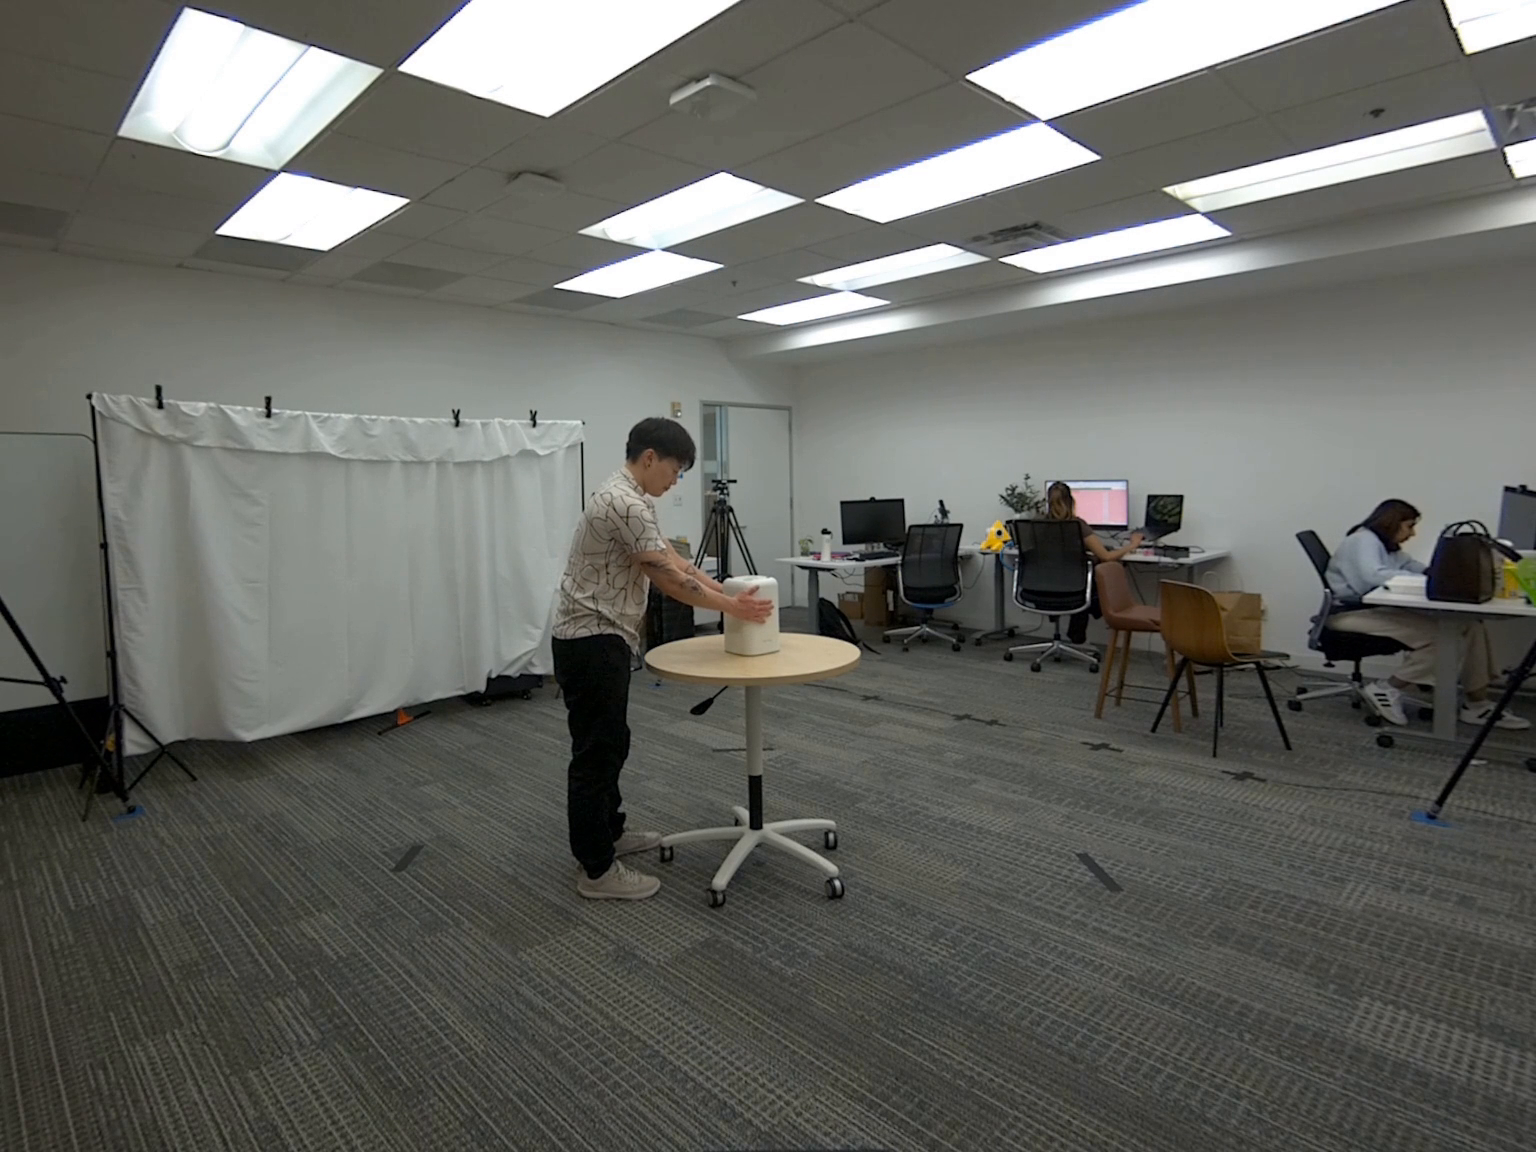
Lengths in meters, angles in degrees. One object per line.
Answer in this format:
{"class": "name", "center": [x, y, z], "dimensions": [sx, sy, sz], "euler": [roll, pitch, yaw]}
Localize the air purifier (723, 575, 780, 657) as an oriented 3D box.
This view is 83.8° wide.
{"class": "air purifier", "center": [-0.063, 0.137, 3.070], "dimensions": [0.166, 0.264, 0.177], "euler": [-4, 6, -38]}
